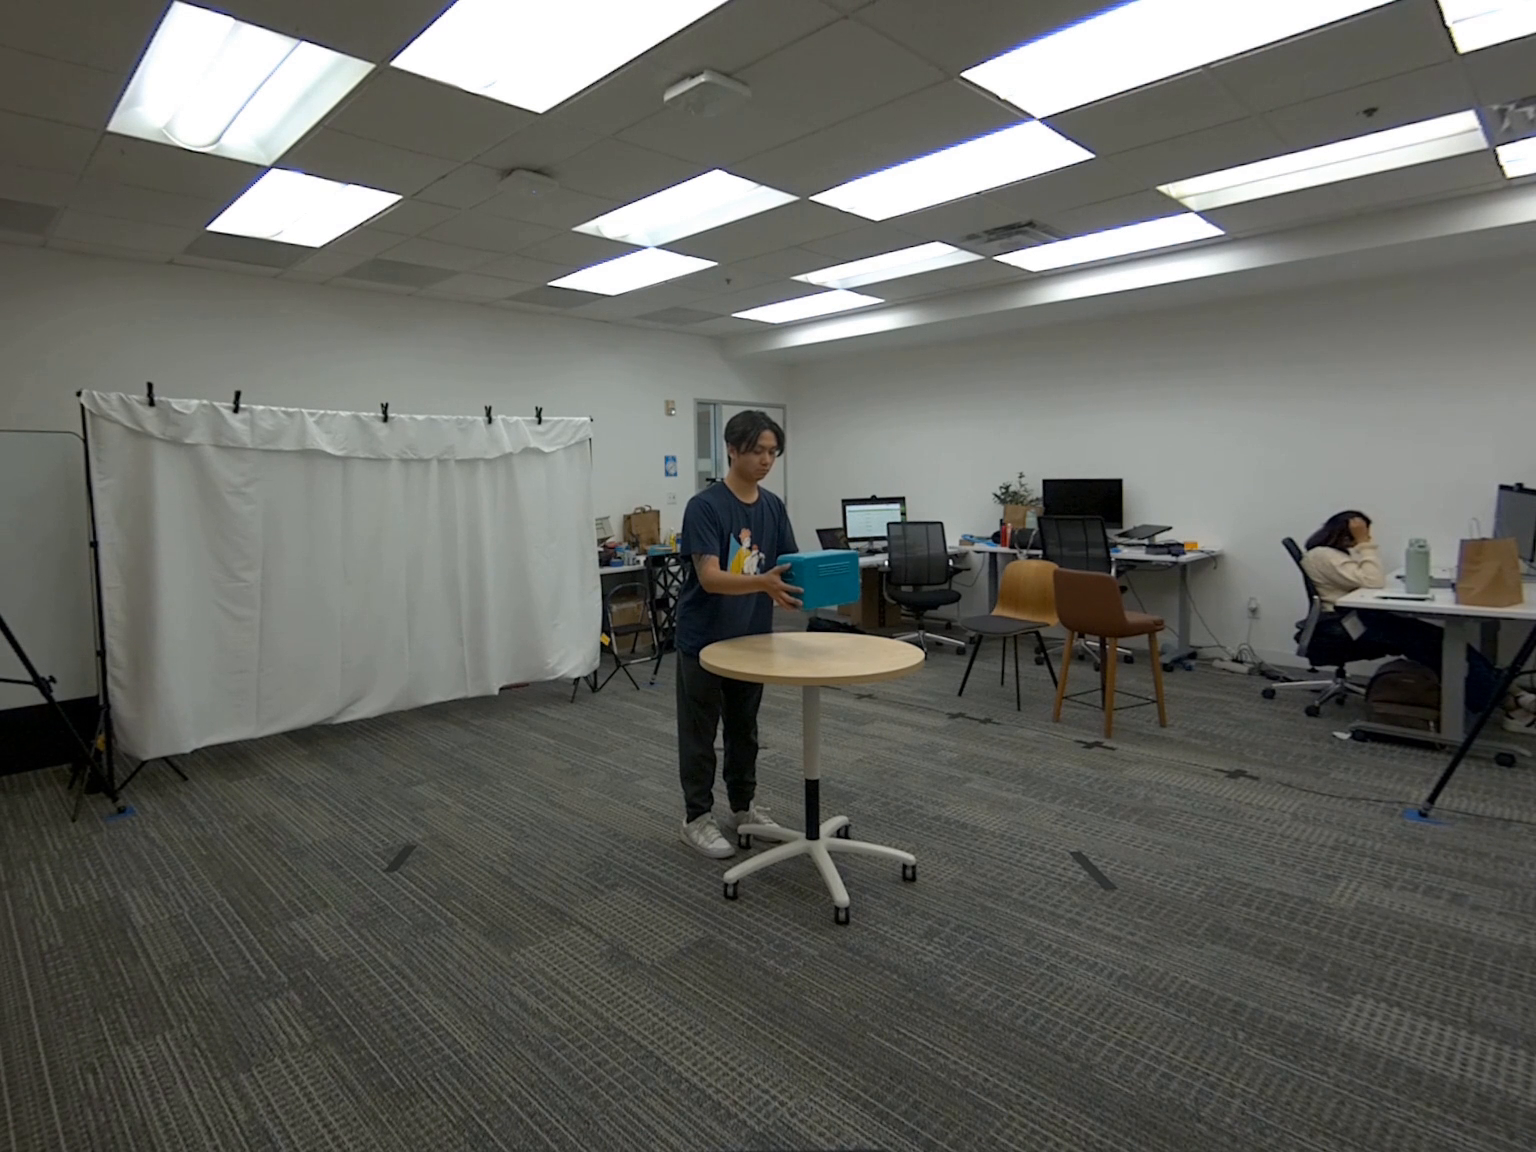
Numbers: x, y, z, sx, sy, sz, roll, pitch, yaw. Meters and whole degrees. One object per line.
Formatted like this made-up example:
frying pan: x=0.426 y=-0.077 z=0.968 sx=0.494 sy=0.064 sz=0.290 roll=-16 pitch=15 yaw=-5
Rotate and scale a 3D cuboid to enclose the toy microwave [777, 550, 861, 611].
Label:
toy microwave: x=0.173 y=0.013 z=2.913 sx=0.279 sy=0.183 sz=0.157 roll=-7 pitch=6 yaw=-40
